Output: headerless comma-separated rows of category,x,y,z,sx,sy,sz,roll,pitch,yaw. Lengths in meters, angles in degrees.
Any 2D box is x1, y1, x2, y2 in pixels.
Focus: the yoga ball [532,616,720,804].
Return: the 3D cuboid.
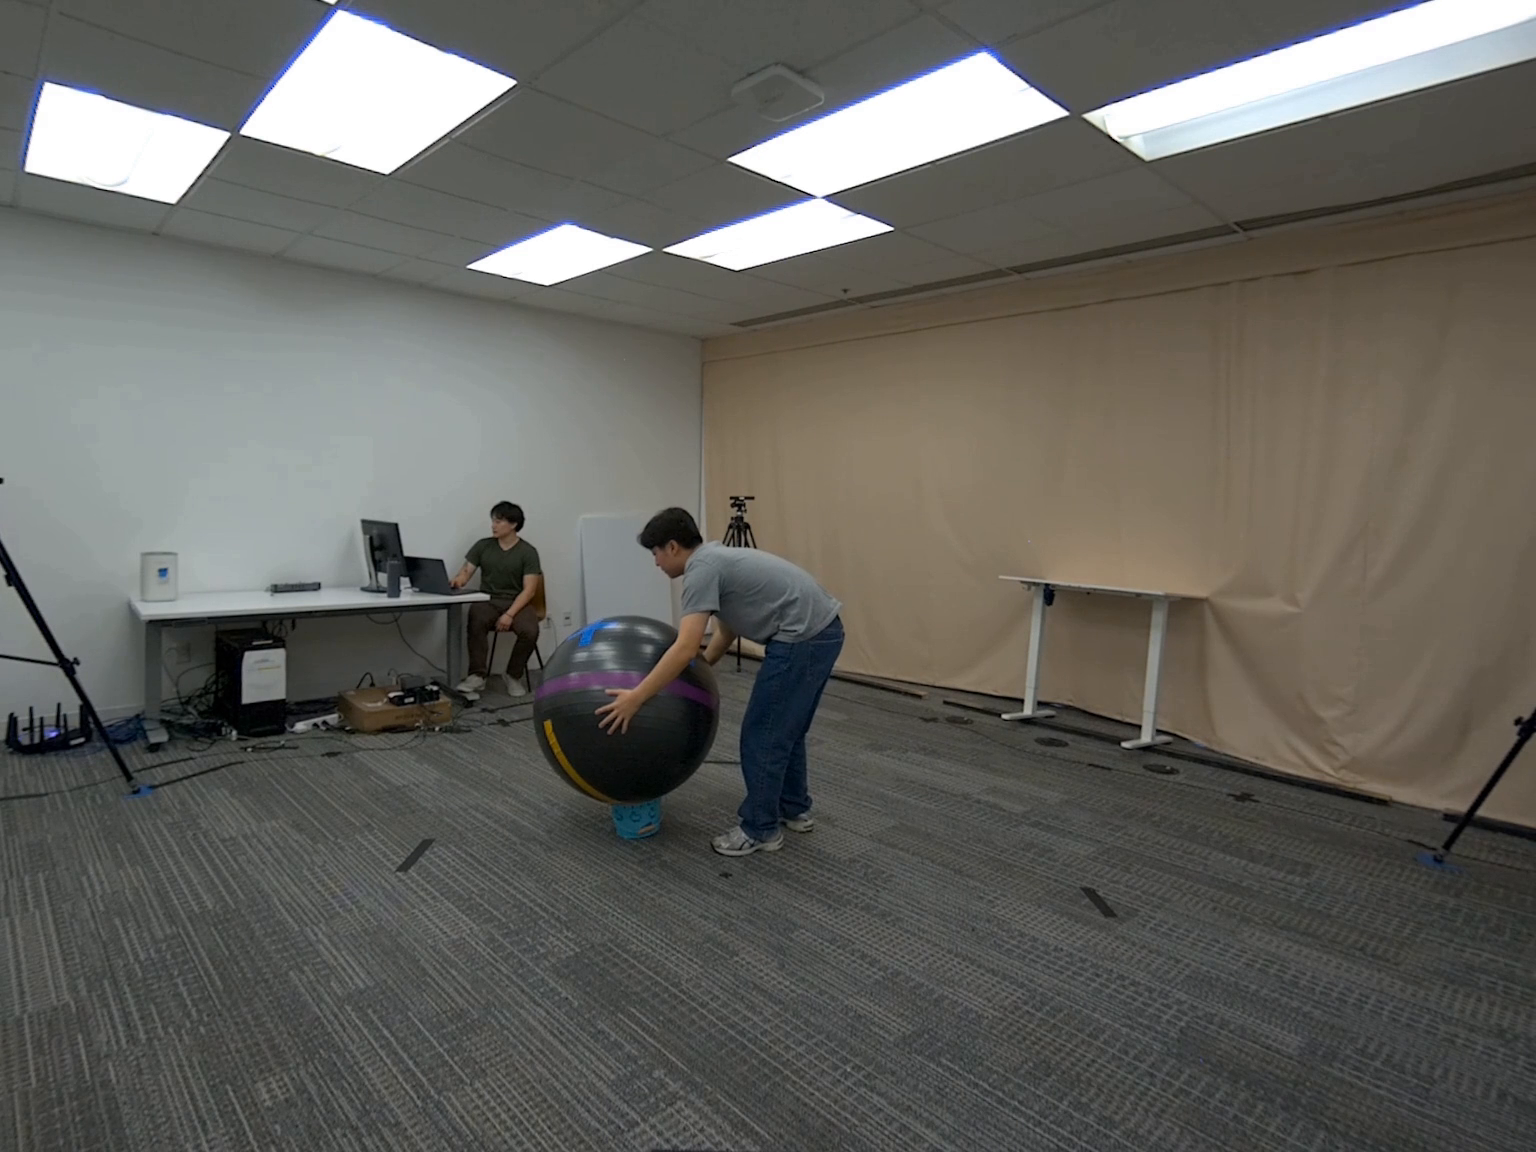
yoga ball,-0.587,0.551,3.482,0.757,0.756,0.761,1,4,-1
